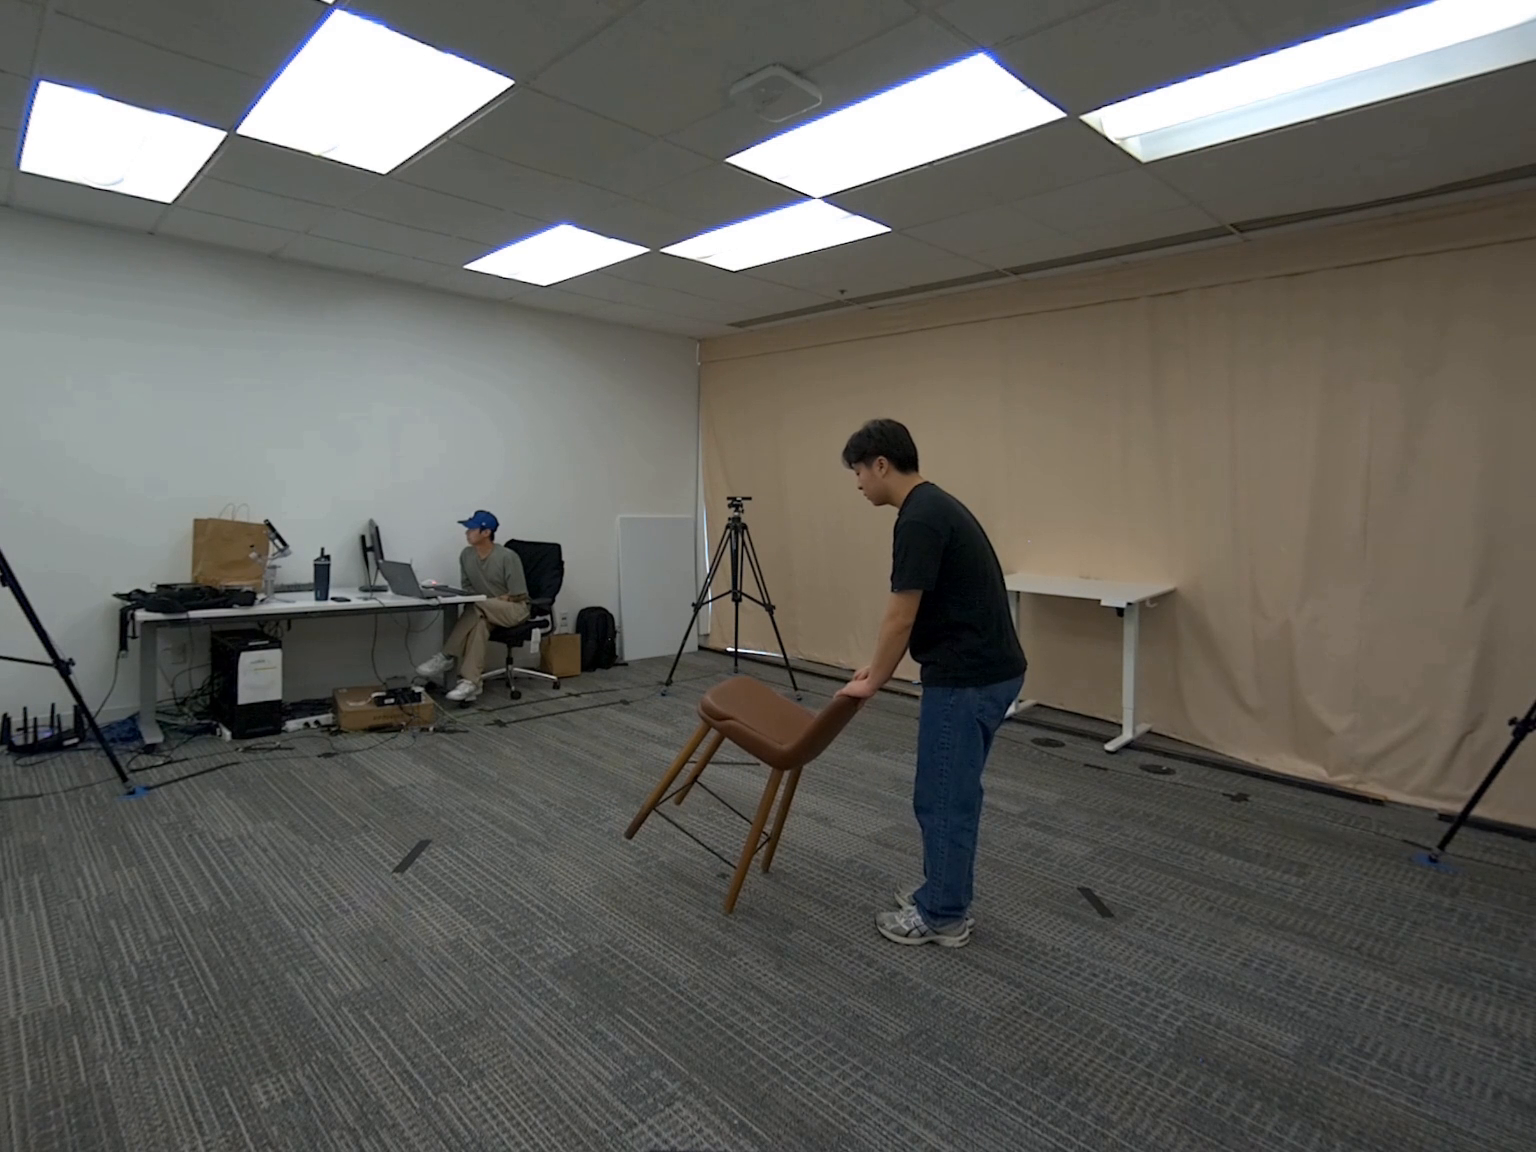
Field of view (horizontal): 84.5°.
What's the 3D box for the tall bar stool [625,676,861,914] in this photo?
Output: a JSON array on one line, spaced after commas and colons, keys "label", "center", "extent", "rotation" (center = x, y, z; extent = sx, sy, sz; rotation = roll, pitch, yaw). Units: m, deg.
[{"label": "tall bar stool", "center": [-0.058, 0.641, 2.961], "extent": [0.477, 0.886, 0.449], "rotation": [33, 14, 18]}]
